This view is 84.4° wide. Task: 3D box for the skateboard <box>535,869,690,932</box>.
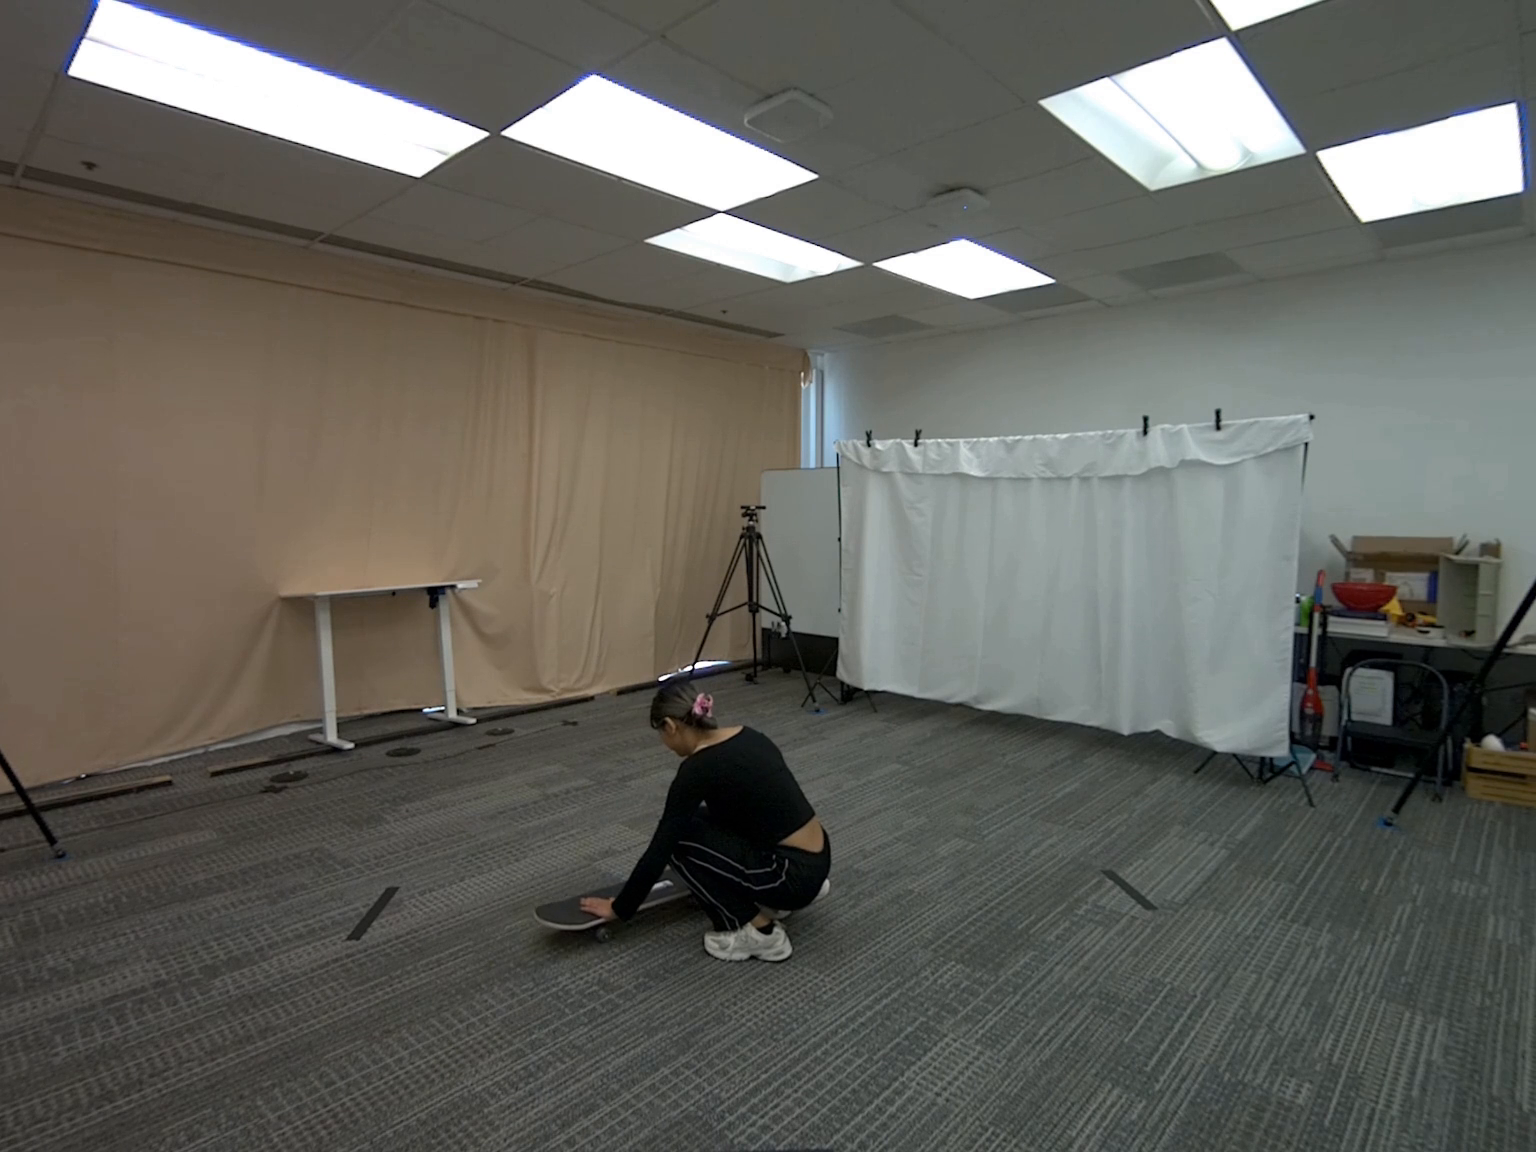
[{"bbox_3d":[-0.414,1.102,2.873,0.762,0.110,0.199,-4,4,-36],"label":"skateboard"}]
